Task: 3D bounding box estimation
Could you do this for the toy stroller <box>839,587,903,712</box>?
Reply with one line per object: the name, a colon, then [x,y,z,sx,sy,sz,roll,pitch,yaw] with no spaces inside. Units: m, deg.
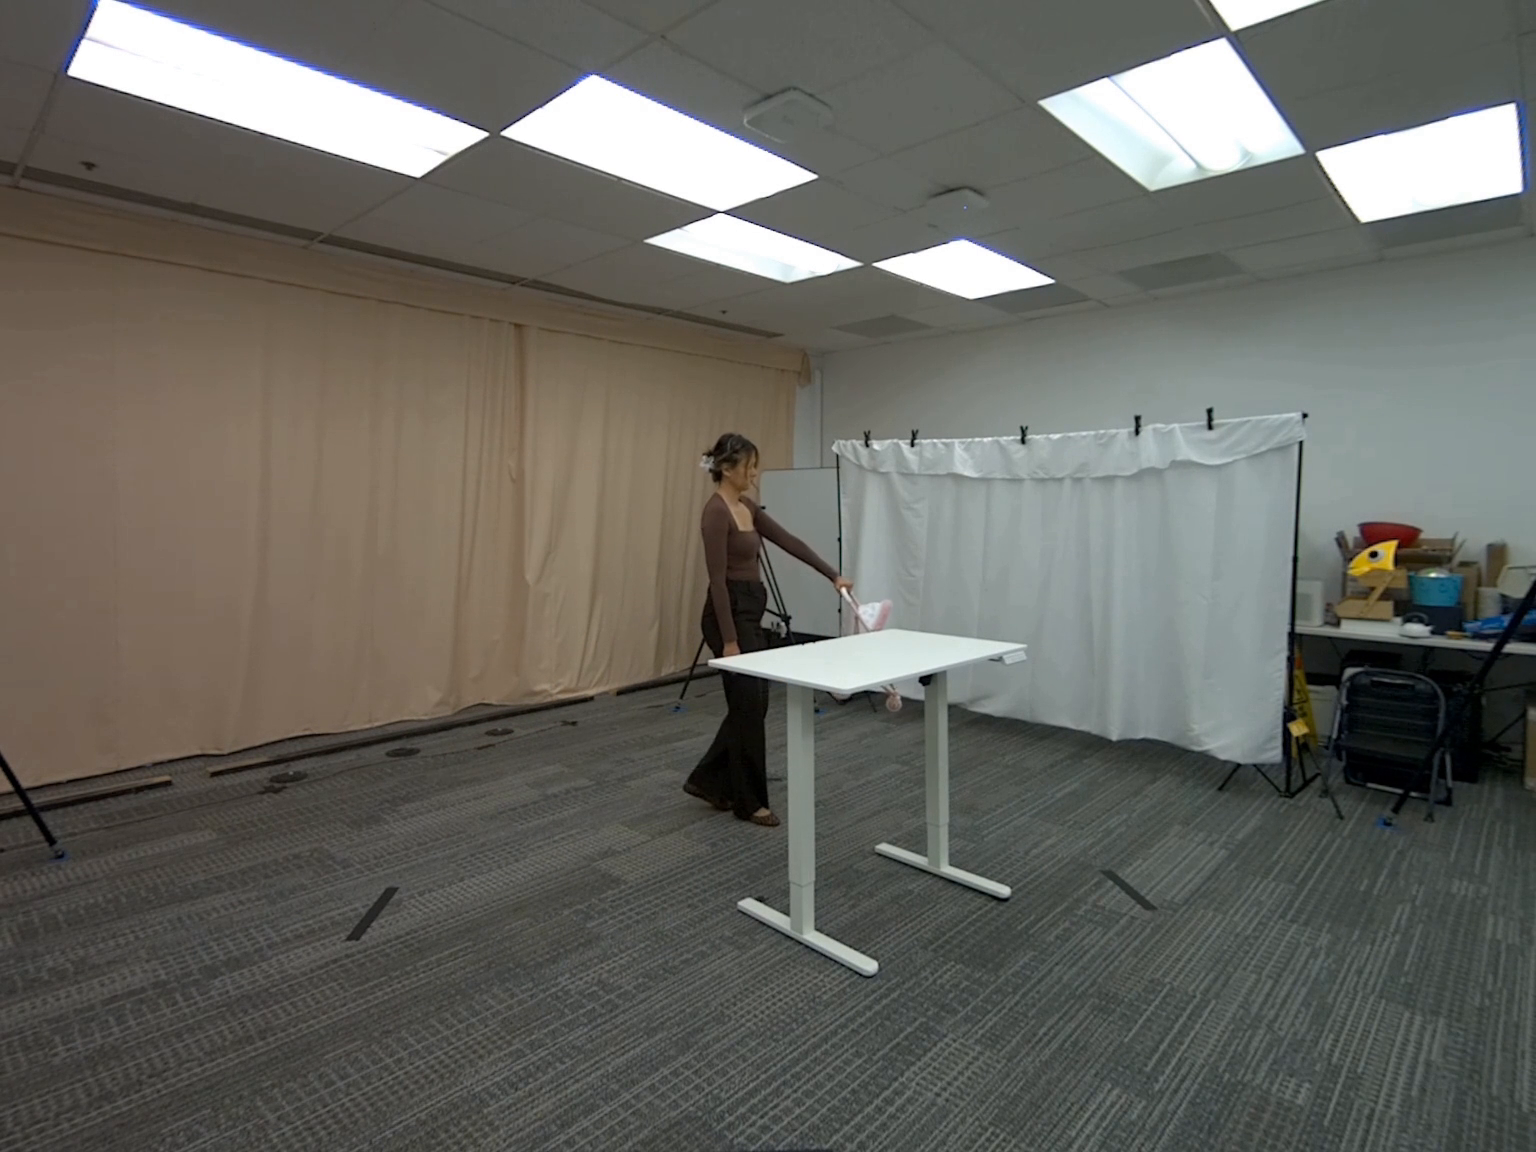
toy stroller: [0.469,0.334,3.785,0.347,0.533,0.278,9,8,14]
